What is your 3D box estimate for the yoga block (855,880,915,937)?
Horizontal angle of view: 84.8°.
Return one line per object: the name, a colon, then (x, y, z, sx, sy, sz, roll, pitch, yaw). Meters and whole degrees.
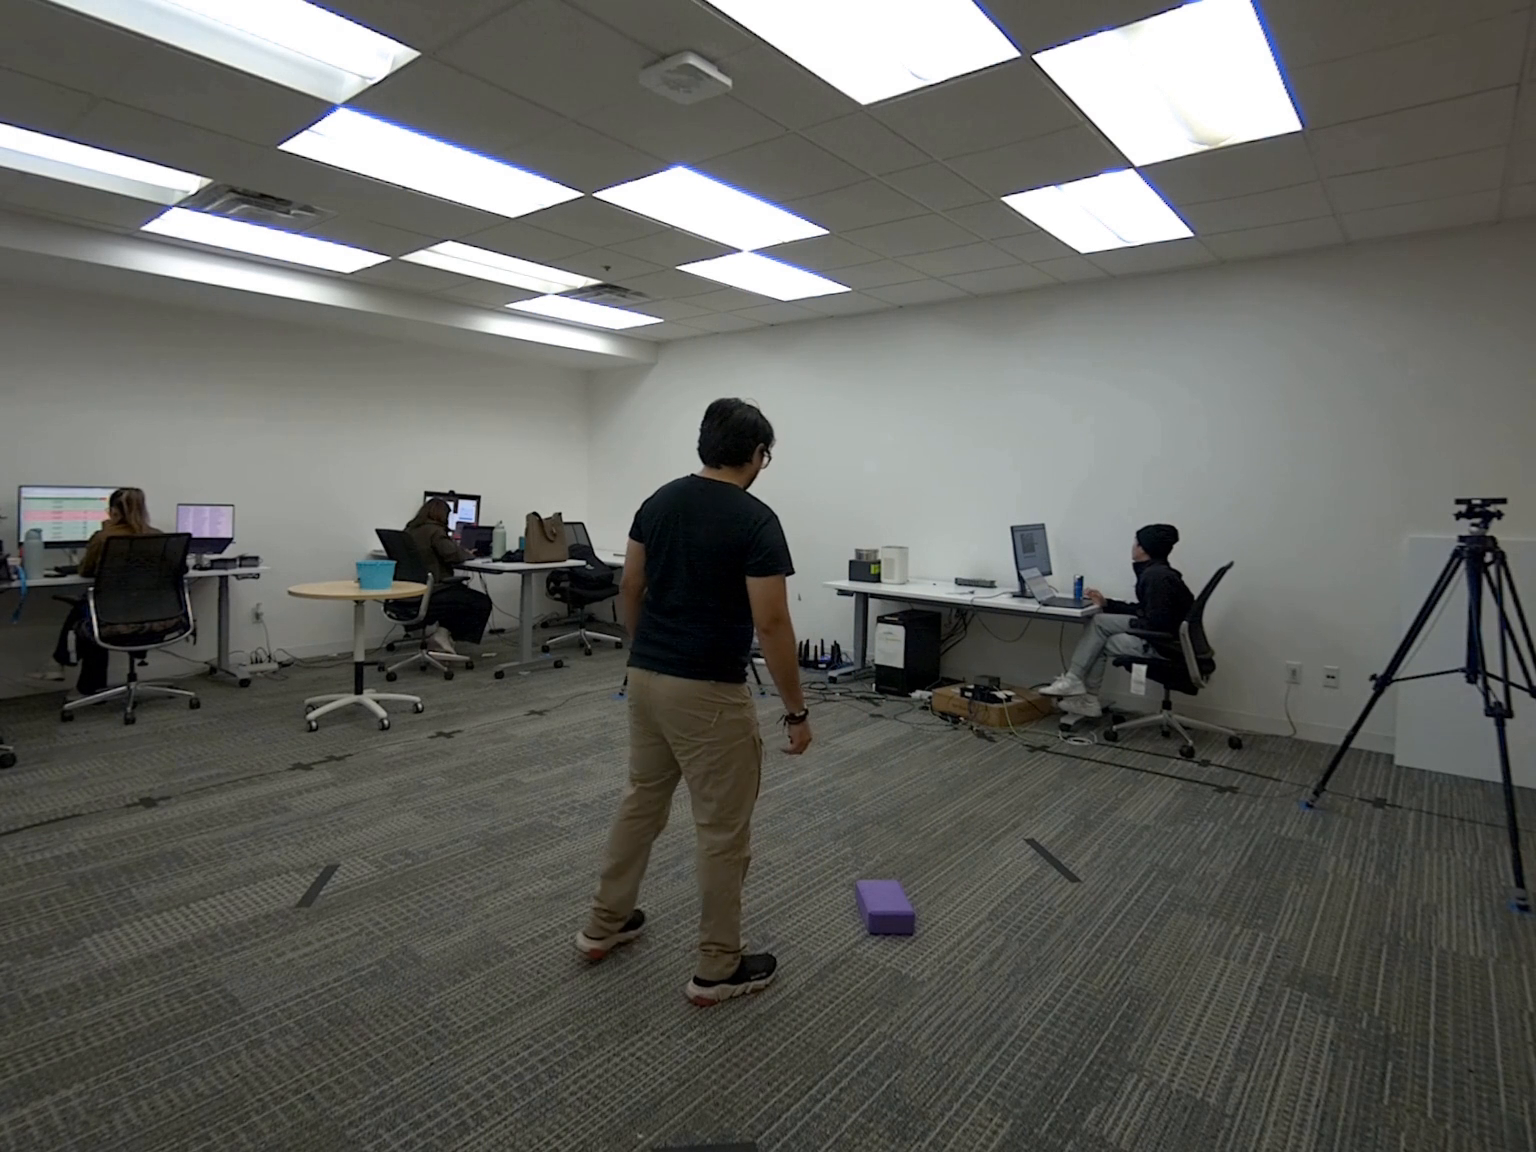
yoga block: (0.374, 1.073, 2.786, 0.148, 0.076, 0.231, -3, 6, -4)
